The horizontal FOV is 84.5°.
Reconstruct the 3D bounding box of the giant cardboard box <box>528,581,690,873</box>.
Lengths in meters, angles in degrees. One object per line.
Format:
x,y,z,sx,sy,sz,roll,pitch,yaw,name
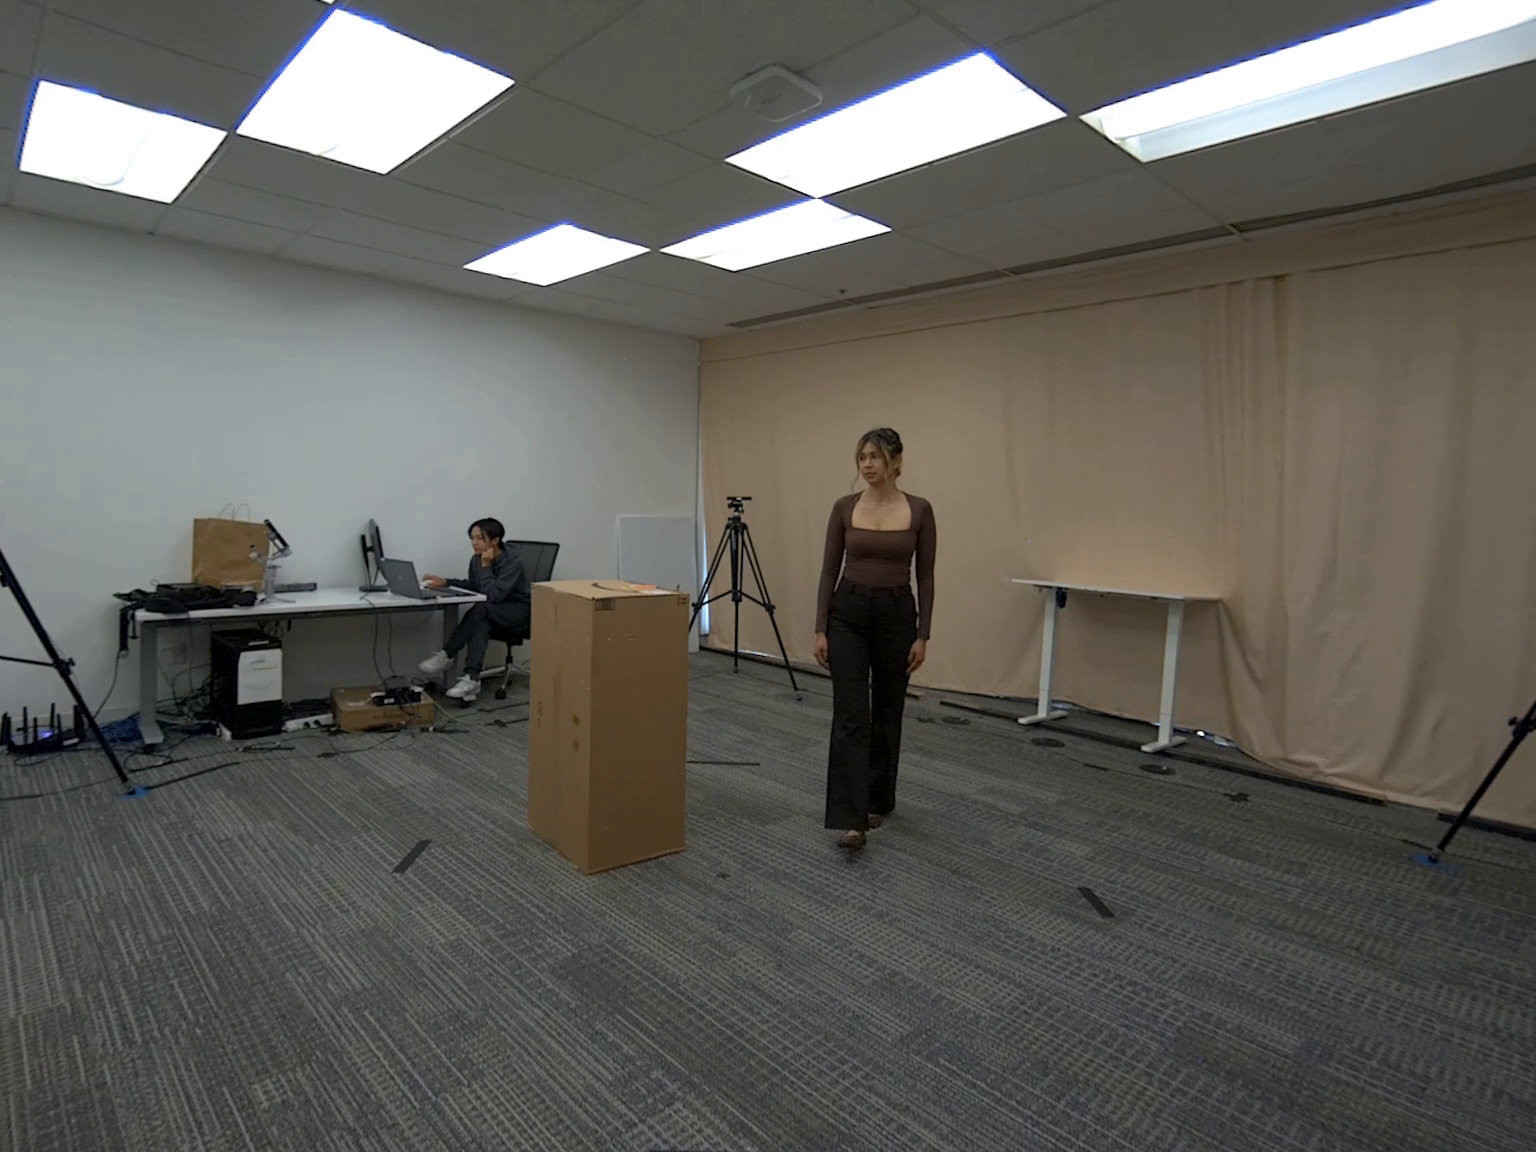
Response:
-0.662,0.557,3.404,0.437,1.025,0.598,0,3,-36,giant cardboard box
